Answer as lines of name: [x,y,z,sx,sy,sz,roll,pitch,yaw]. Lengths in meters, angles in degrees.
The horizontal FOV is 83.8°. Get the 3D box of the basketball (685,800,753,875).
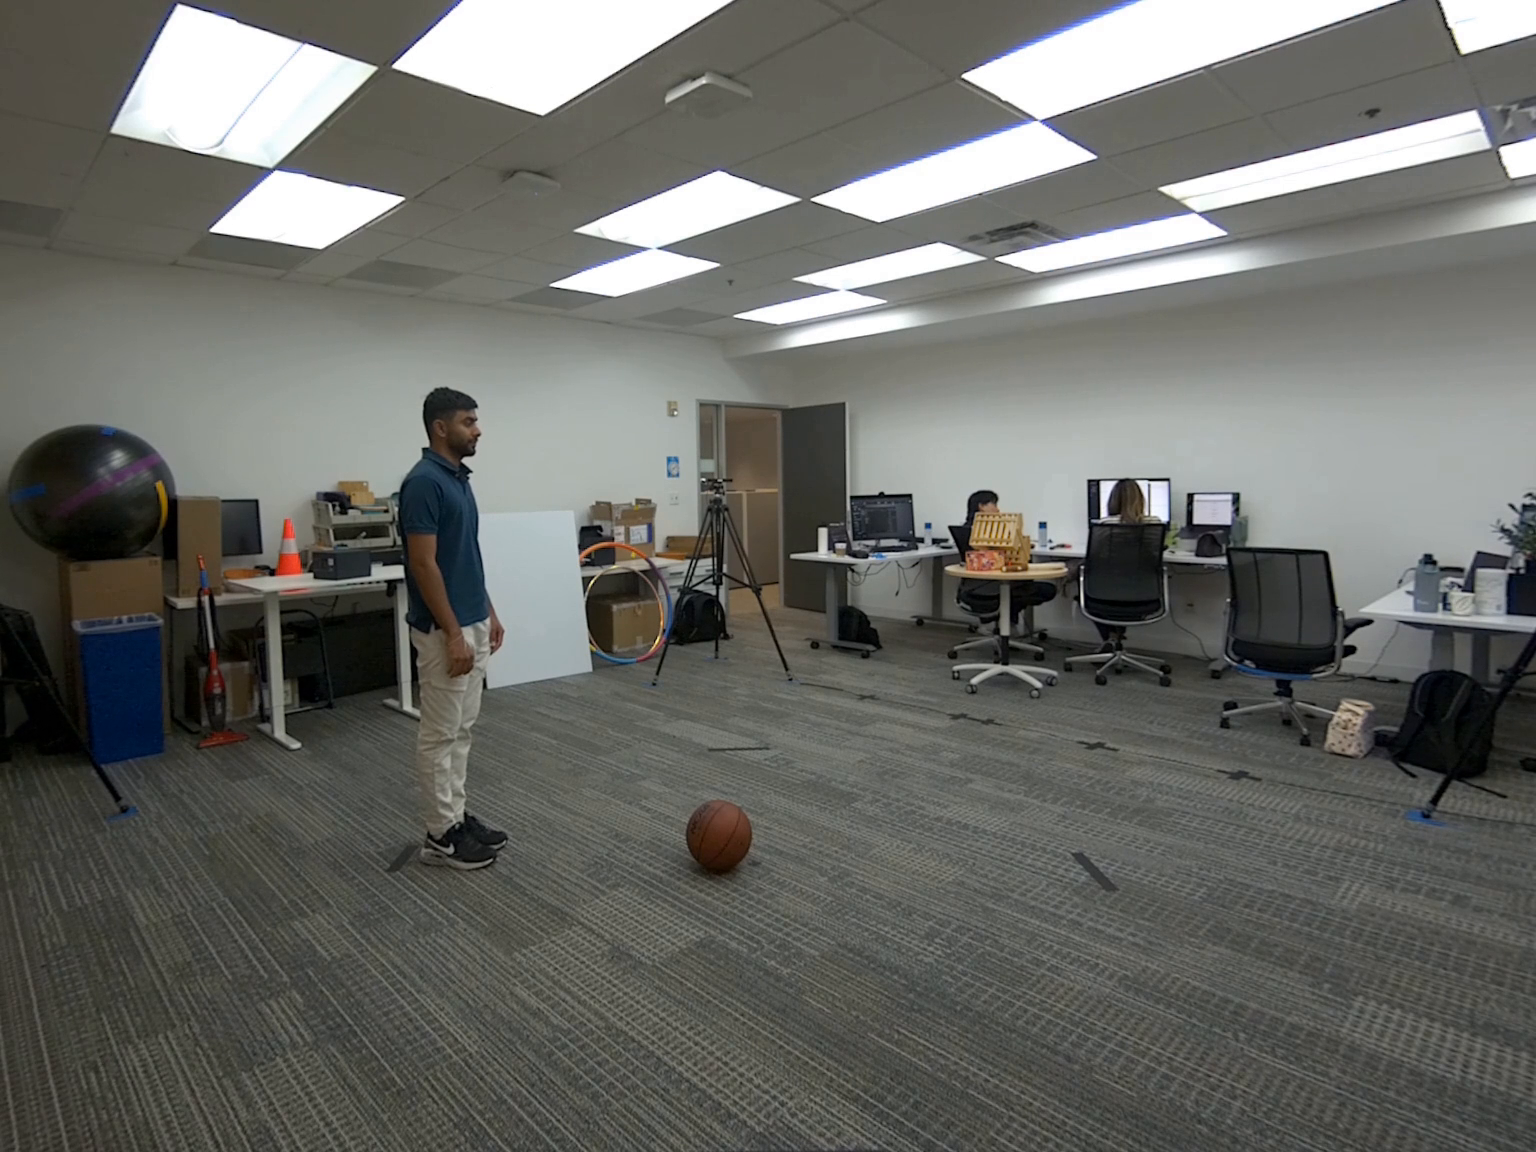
basketball: [-0.175,0.926,3.065,0.236,0.235,0.237,-1,5,-2]
